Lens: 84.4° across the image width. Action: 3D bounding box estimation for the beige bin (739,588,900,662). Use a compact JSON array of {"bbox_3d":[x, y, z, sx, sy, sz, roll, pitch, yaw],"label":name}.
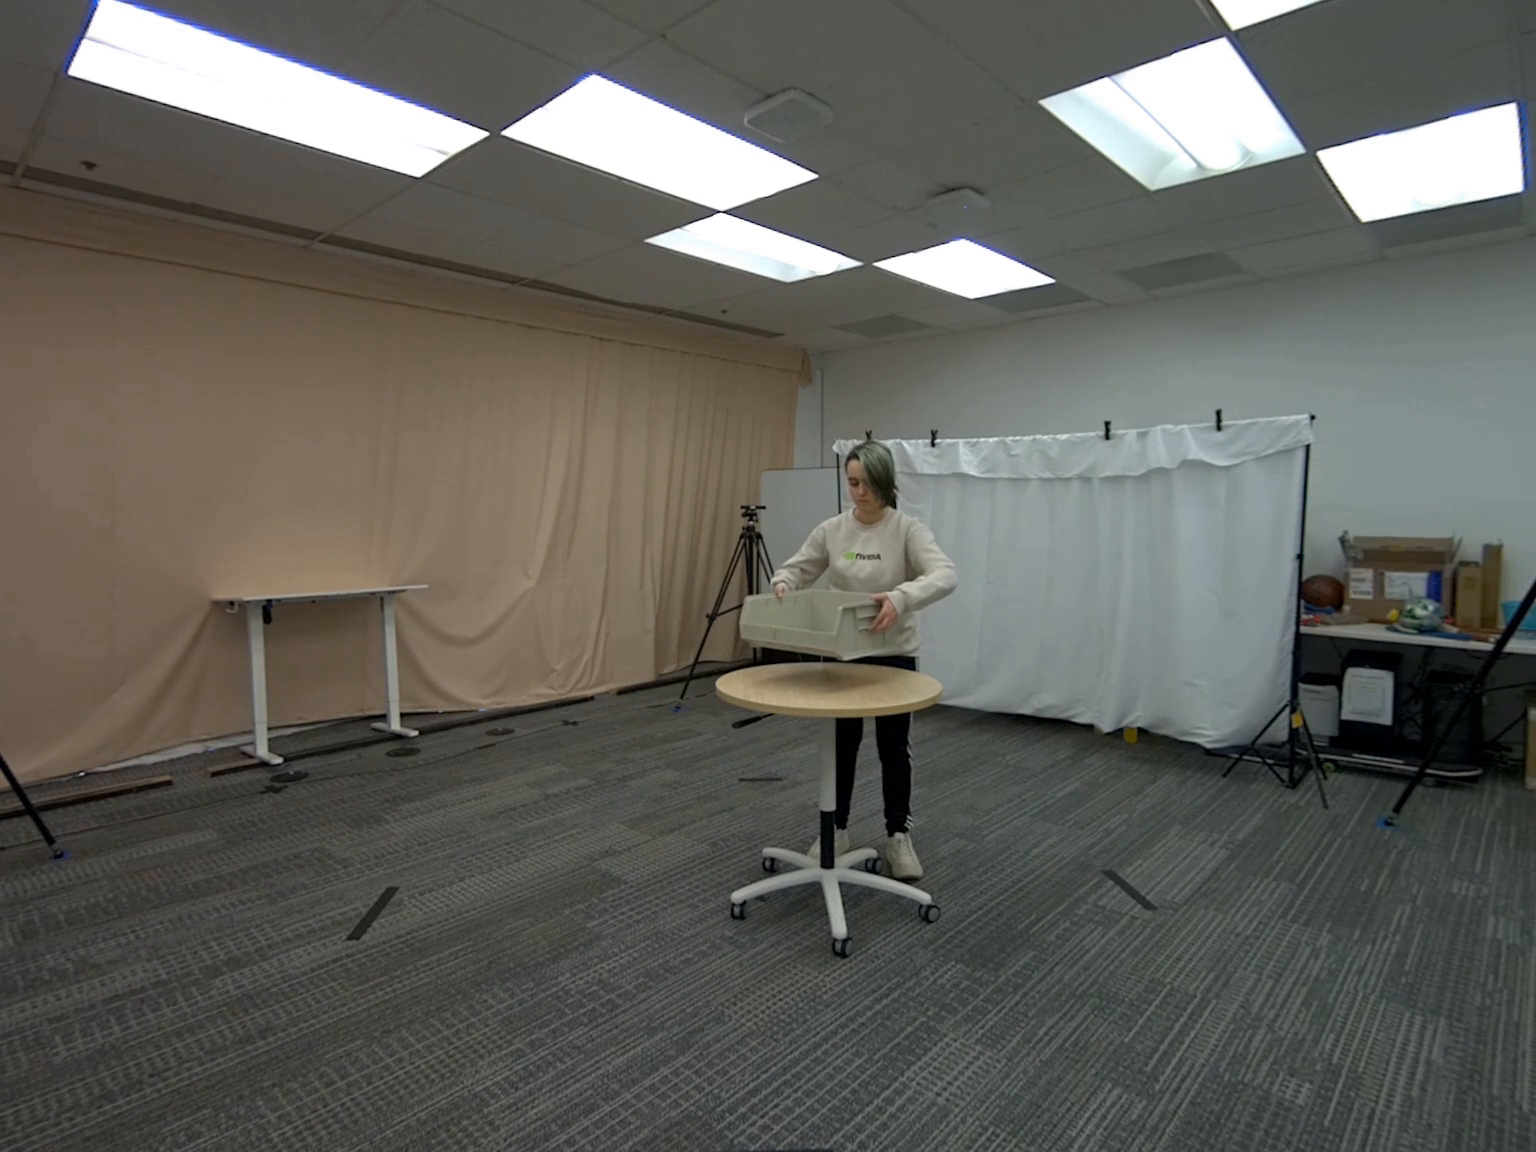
[{"bbox_3d":[0.185,0.162,2.900,0.366,0.188,0.436,-4,6,-44],"label":"beige bin"}]
